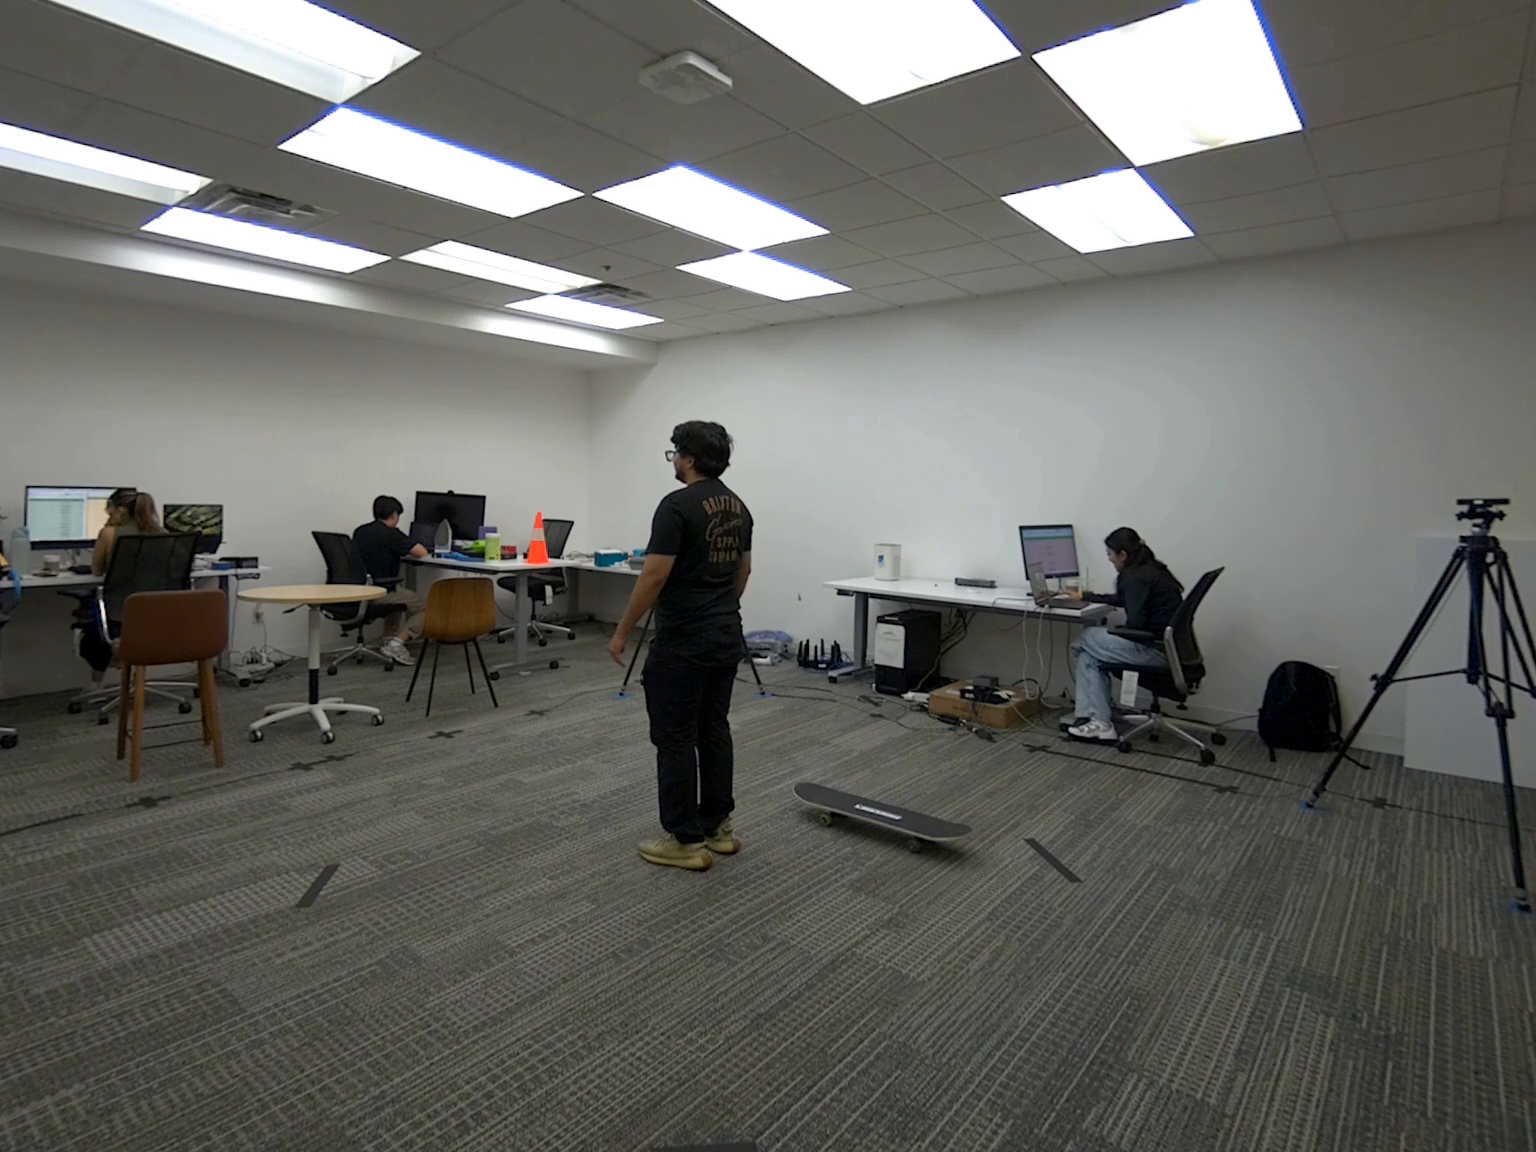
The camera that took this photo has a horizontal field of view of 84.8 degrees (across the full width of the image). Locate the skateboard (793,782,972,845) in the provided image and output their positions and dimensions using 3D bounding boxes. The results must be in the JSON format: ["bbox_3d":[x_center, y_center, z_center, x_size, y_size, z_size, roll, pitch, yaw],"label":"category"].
[{"bbox_3d":[0.443,0.994,3.488,0.811,0.110,0.188,6,9,36],"label":"skateboard"}]
